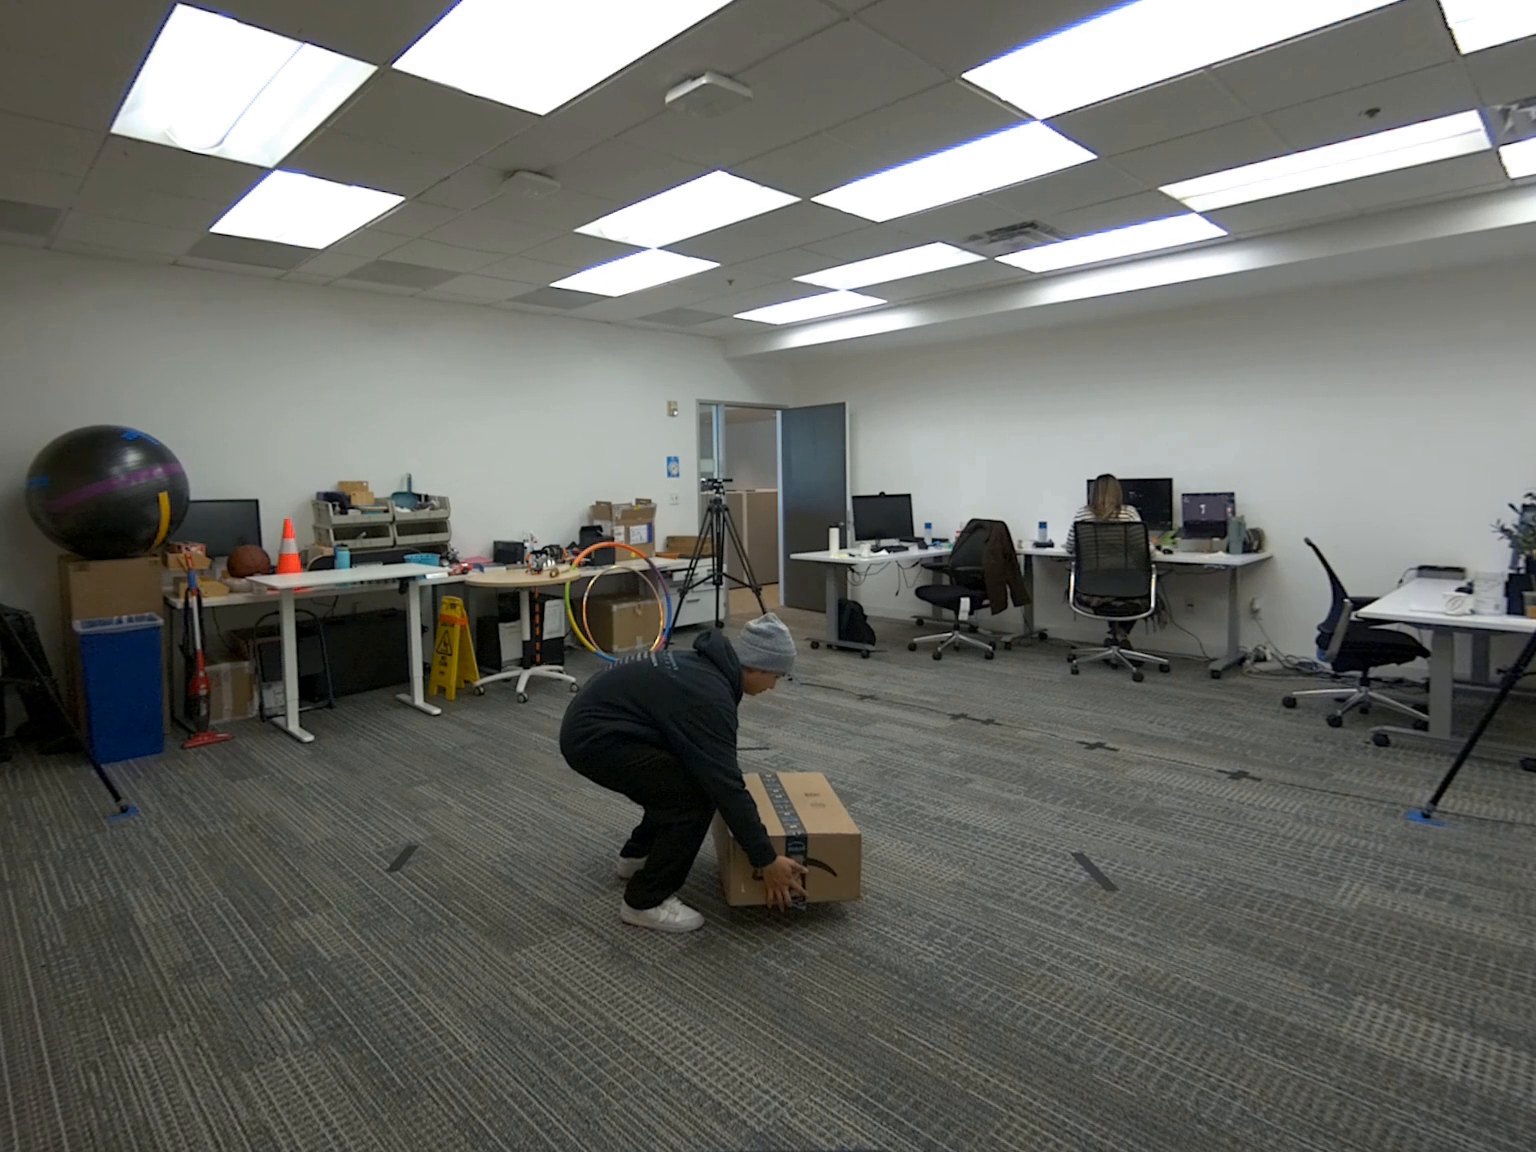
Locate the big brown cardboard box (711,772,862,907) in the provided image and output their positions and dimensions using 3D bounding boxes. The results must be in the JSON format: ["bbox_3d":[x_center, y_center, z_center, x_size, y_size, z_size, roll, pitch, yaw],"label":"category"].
[{"bbox_3d":[0.047,0.876,2.904,0.415,0.232,0.596,0,7,-8],"label":"big brown cardboard box"}]
